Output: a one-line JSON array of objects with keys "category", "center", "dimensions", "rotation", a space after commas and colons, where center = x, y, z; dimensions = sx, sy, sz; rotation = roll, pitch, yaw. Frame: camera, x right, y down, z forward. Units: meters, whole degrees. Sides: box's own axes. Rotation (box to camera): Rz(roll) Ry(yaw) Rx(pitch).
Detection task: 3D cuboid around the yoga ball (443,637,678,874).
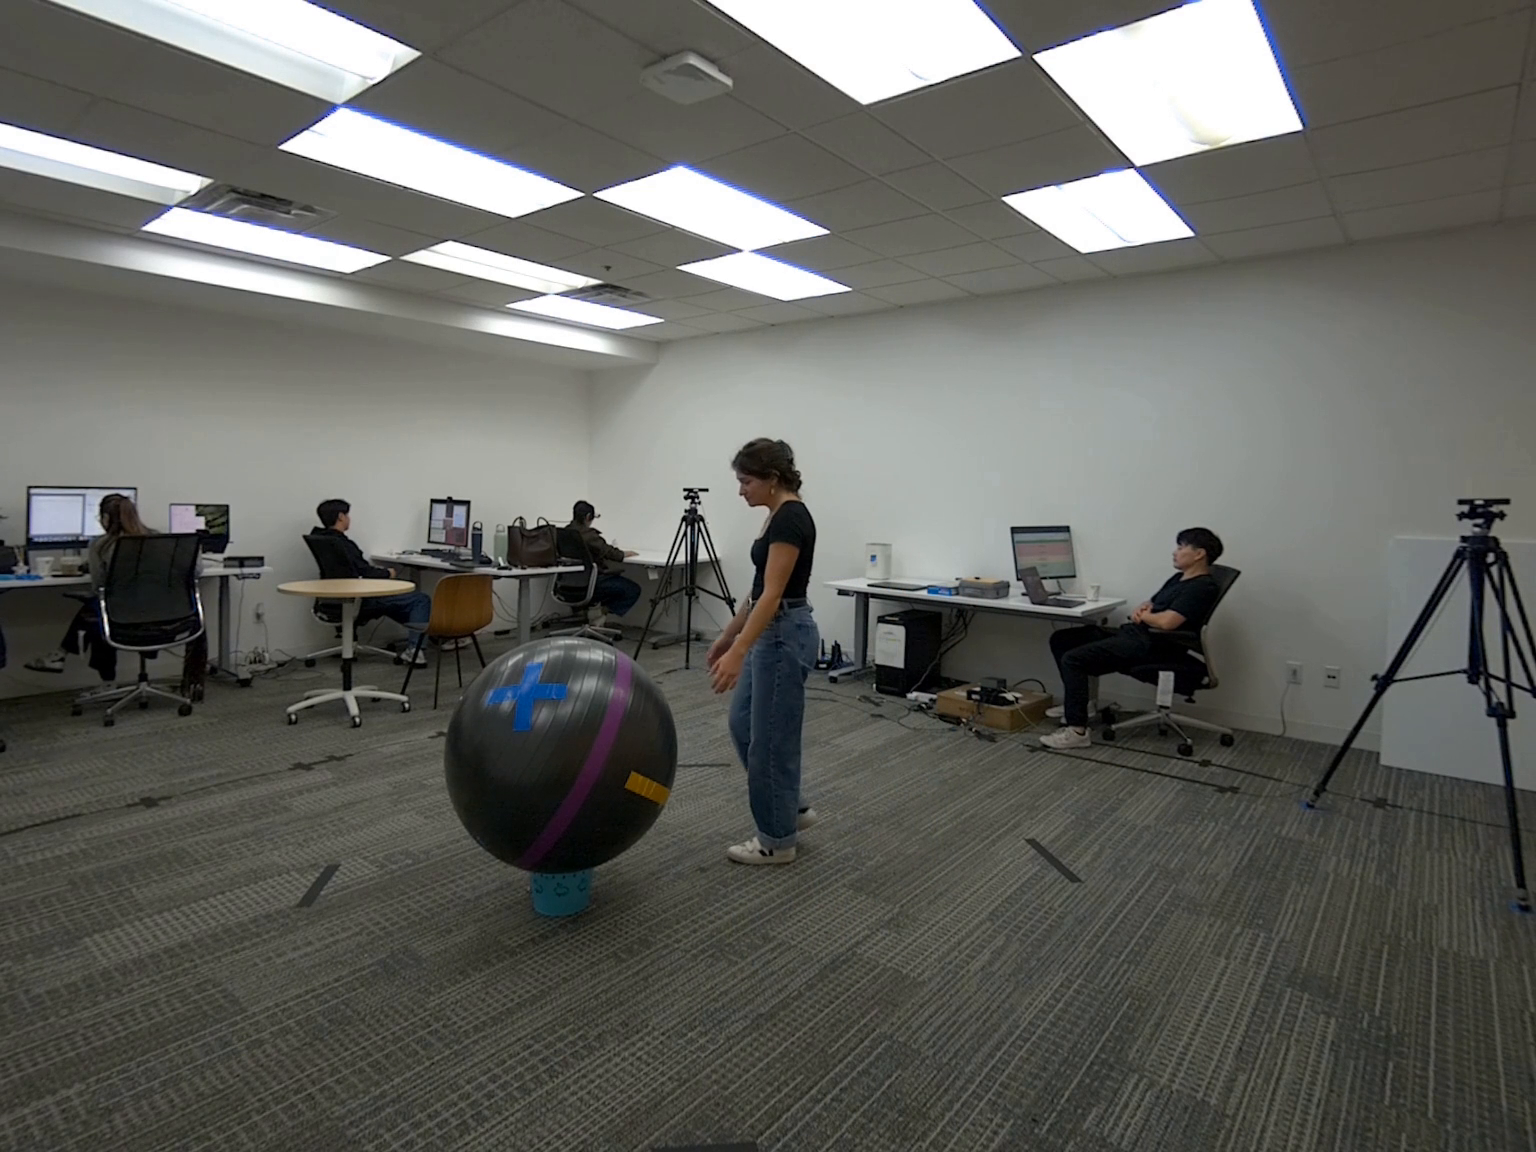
[{"category": "yoga ball", "center": [-0.693, 0.586, 2.813], "dimensions": [0.757, 0.755, 0.762], "rotation": [1, 4, -2]}]
